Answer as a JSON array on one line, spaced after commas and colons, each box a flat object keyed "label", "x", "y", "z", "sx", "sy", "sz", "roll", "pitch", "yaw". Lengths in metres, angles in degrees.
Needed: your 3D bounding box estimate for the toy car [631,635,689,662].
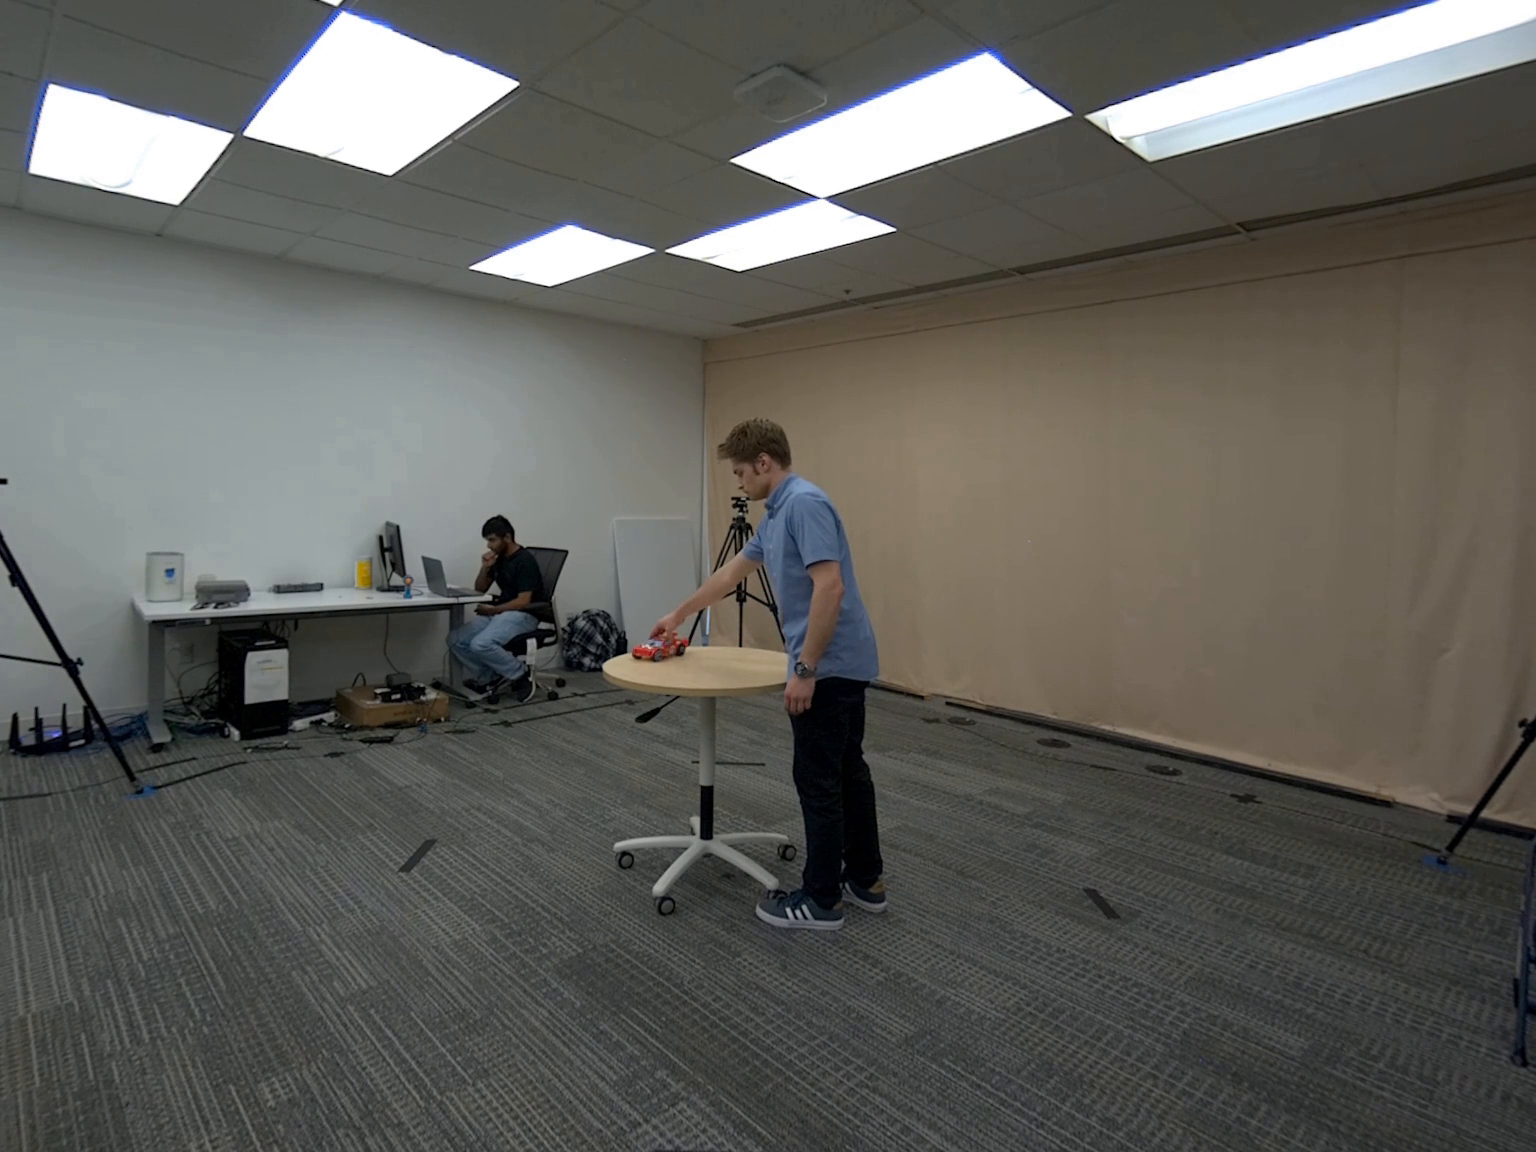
[{"label": "toy car", "x": -0.411, "y": 0.279, "z": 3.222, "sx": 0.133, "sy": 0.082, "sz": 0.251, "roll": 3, "pitch": 16, "yaw": 32}]
